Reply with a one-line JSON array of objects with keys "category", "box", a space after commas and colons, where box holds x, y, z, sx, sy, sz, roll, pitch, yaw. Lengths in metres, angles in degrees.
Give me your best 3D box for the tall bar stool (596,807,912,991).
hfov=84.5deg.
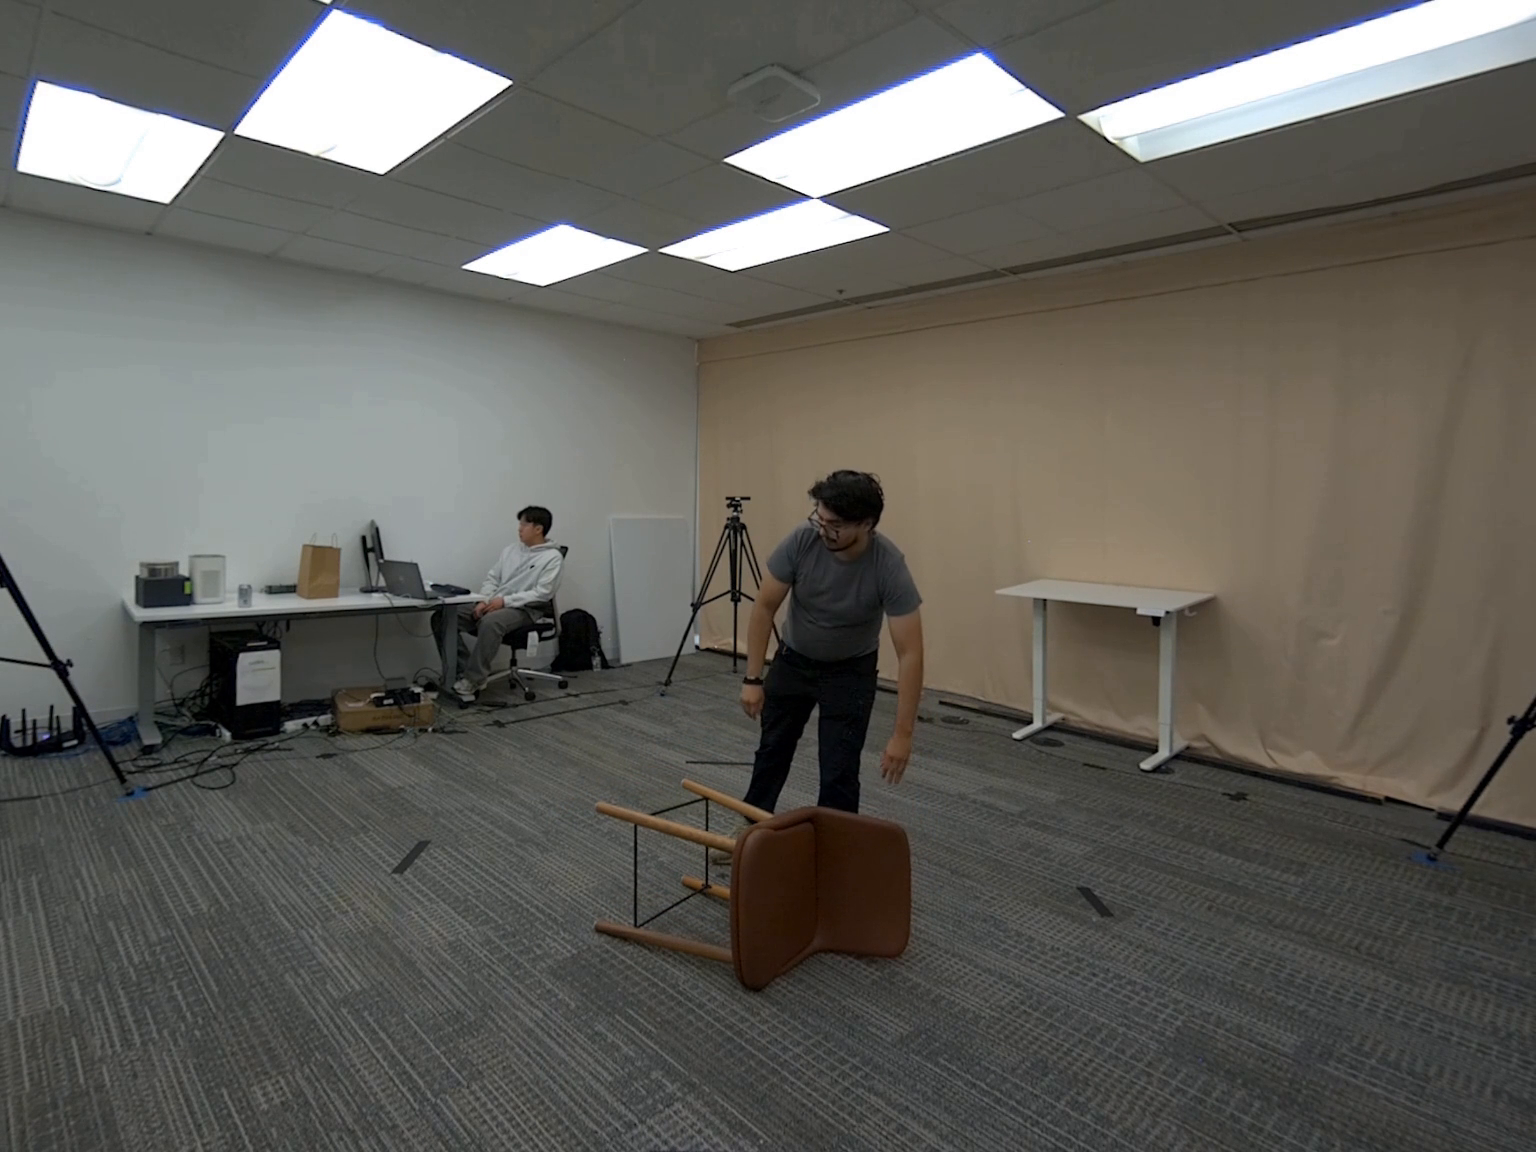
[{"category": "tall bar stool", "box": [-0.066, 0.942, 2.603, 0.910, 0.456, 0.457, 2, 2, 35]}]
